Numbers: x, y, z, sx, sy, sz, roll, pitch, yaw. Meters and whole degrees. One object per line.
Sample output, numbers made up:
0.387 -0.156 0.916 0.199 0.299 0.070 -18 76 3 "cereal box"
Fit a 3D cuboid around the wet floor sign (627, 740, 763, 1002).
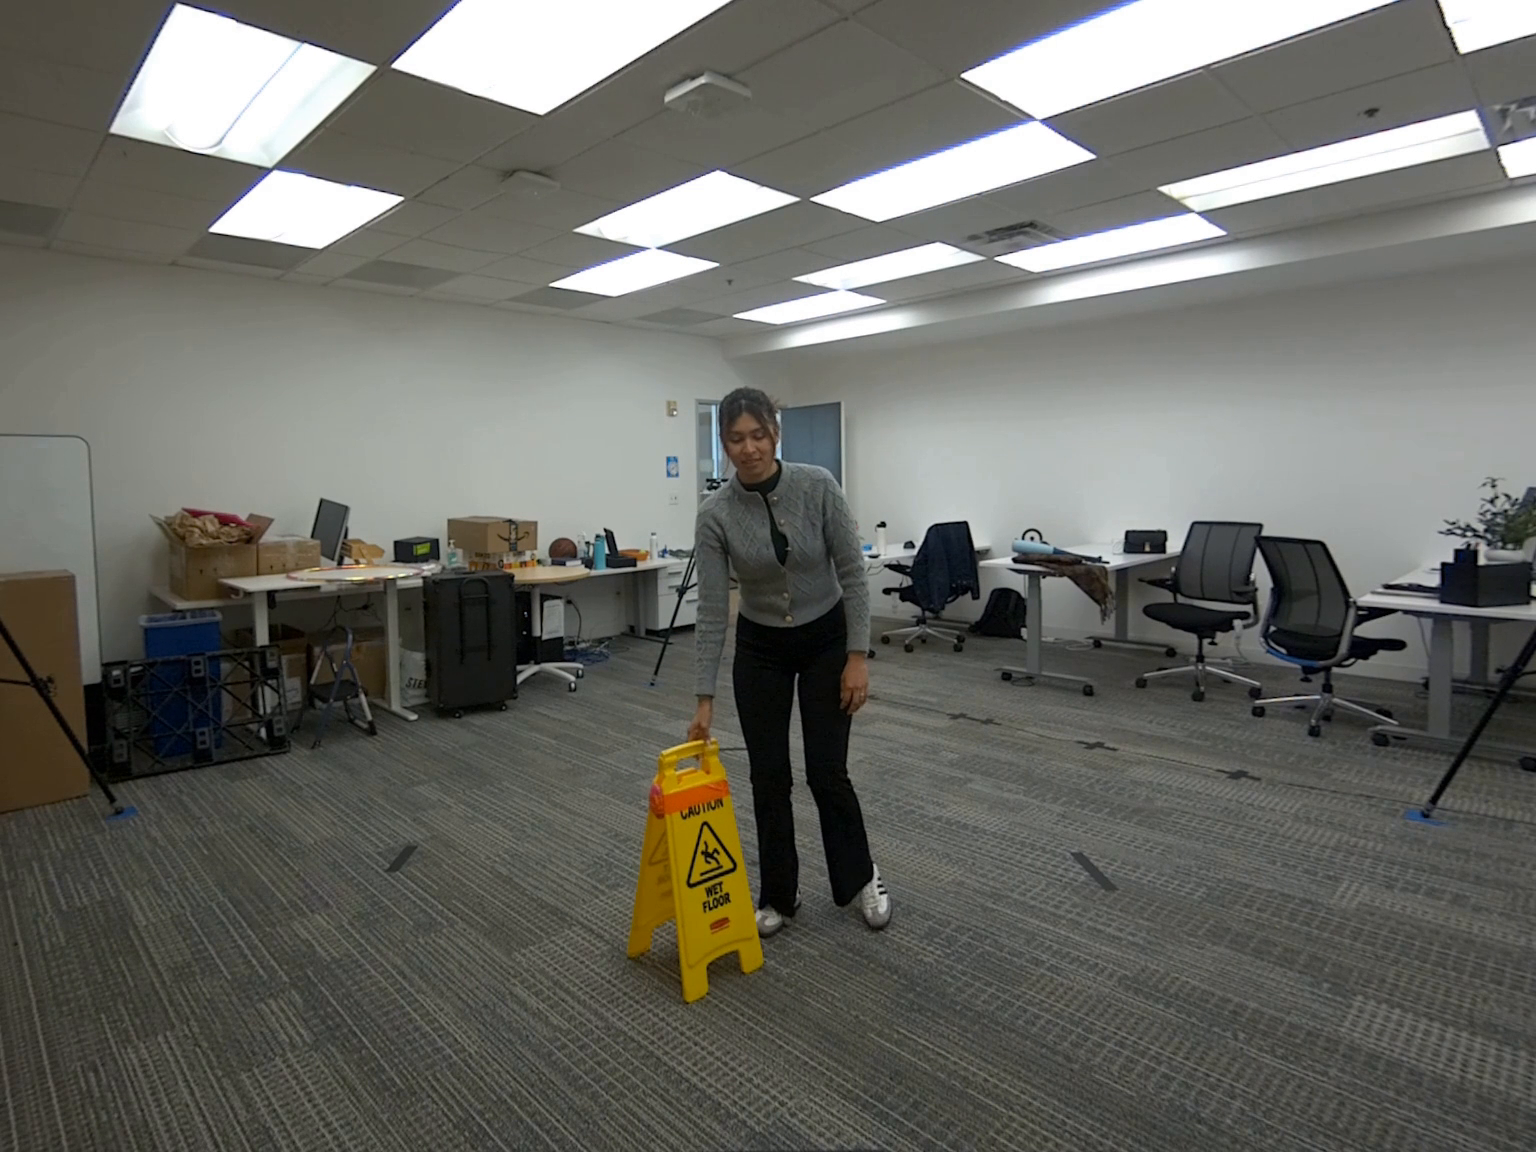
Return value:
-0.221 0.800 2.462 0.275 0.644 0.298 -5 5 -41 "wet floor sign"
